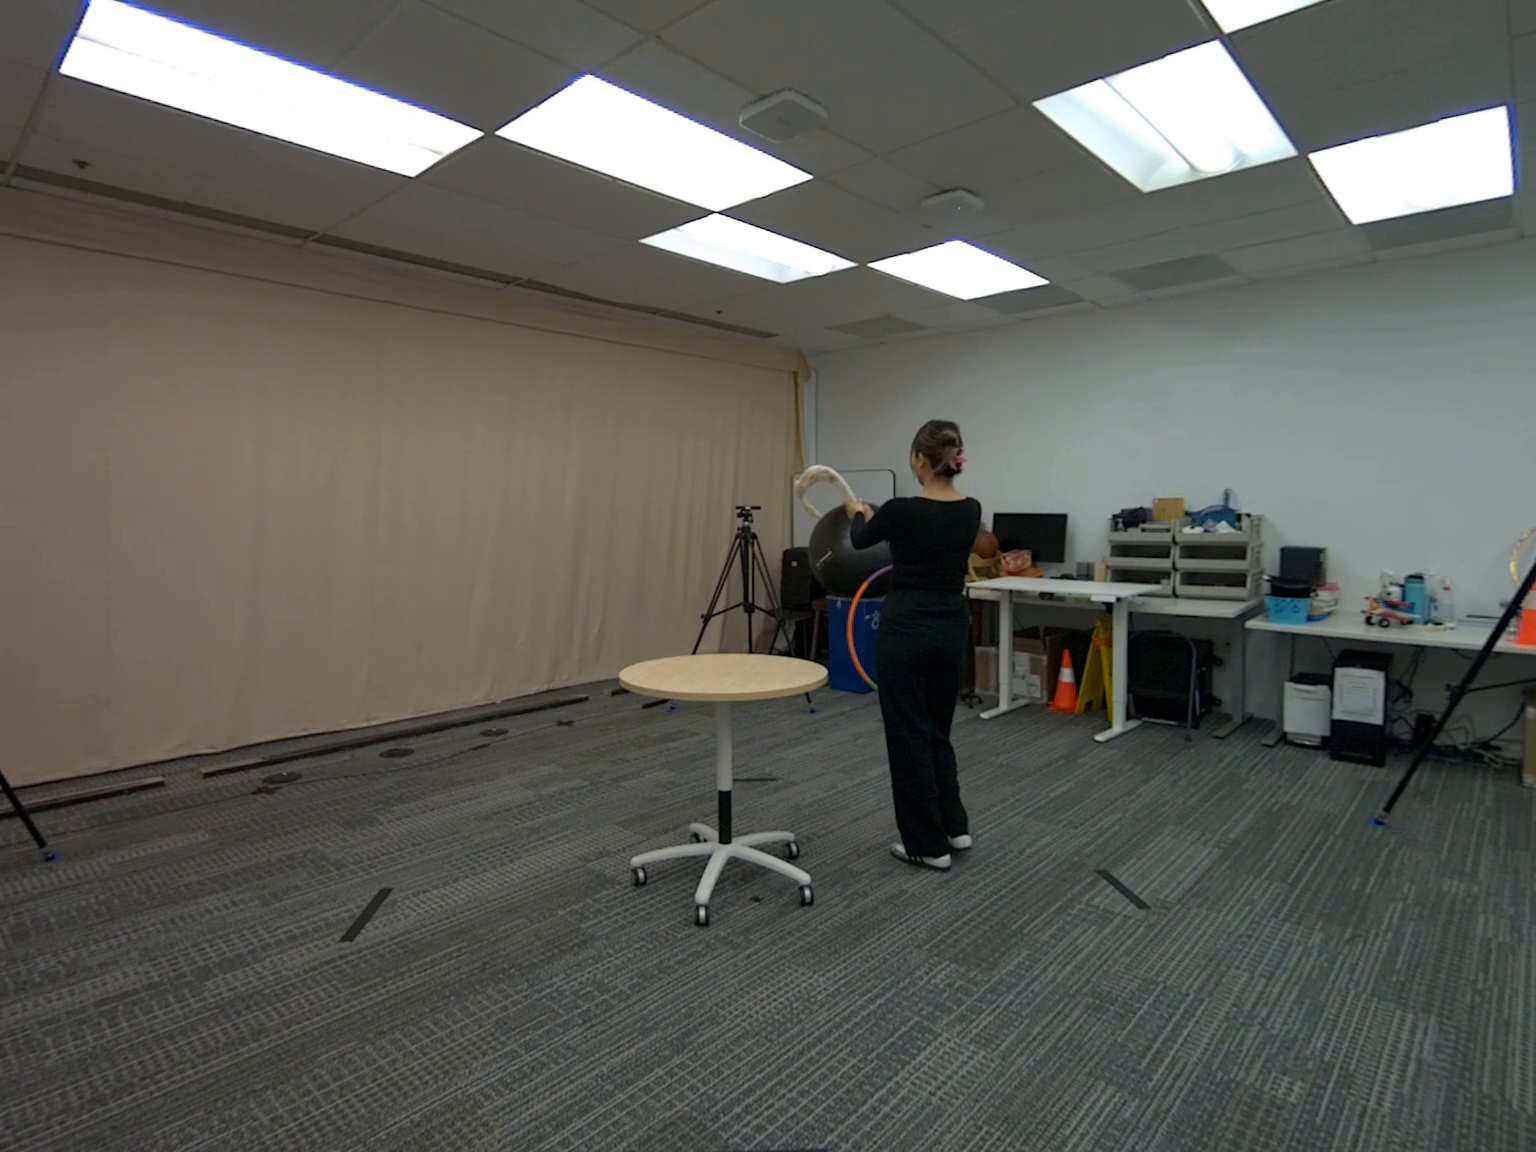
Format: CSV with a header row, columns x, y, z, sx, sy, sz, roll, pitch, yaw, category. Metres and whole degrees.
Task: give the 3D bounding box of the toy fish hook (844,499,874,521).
x,y,z,sx,sy,sz,roll,pitch,yaw,category
0.334,-0.278,3.701,0.226,0.504,0.048,-45,4,27,toy fish hook
